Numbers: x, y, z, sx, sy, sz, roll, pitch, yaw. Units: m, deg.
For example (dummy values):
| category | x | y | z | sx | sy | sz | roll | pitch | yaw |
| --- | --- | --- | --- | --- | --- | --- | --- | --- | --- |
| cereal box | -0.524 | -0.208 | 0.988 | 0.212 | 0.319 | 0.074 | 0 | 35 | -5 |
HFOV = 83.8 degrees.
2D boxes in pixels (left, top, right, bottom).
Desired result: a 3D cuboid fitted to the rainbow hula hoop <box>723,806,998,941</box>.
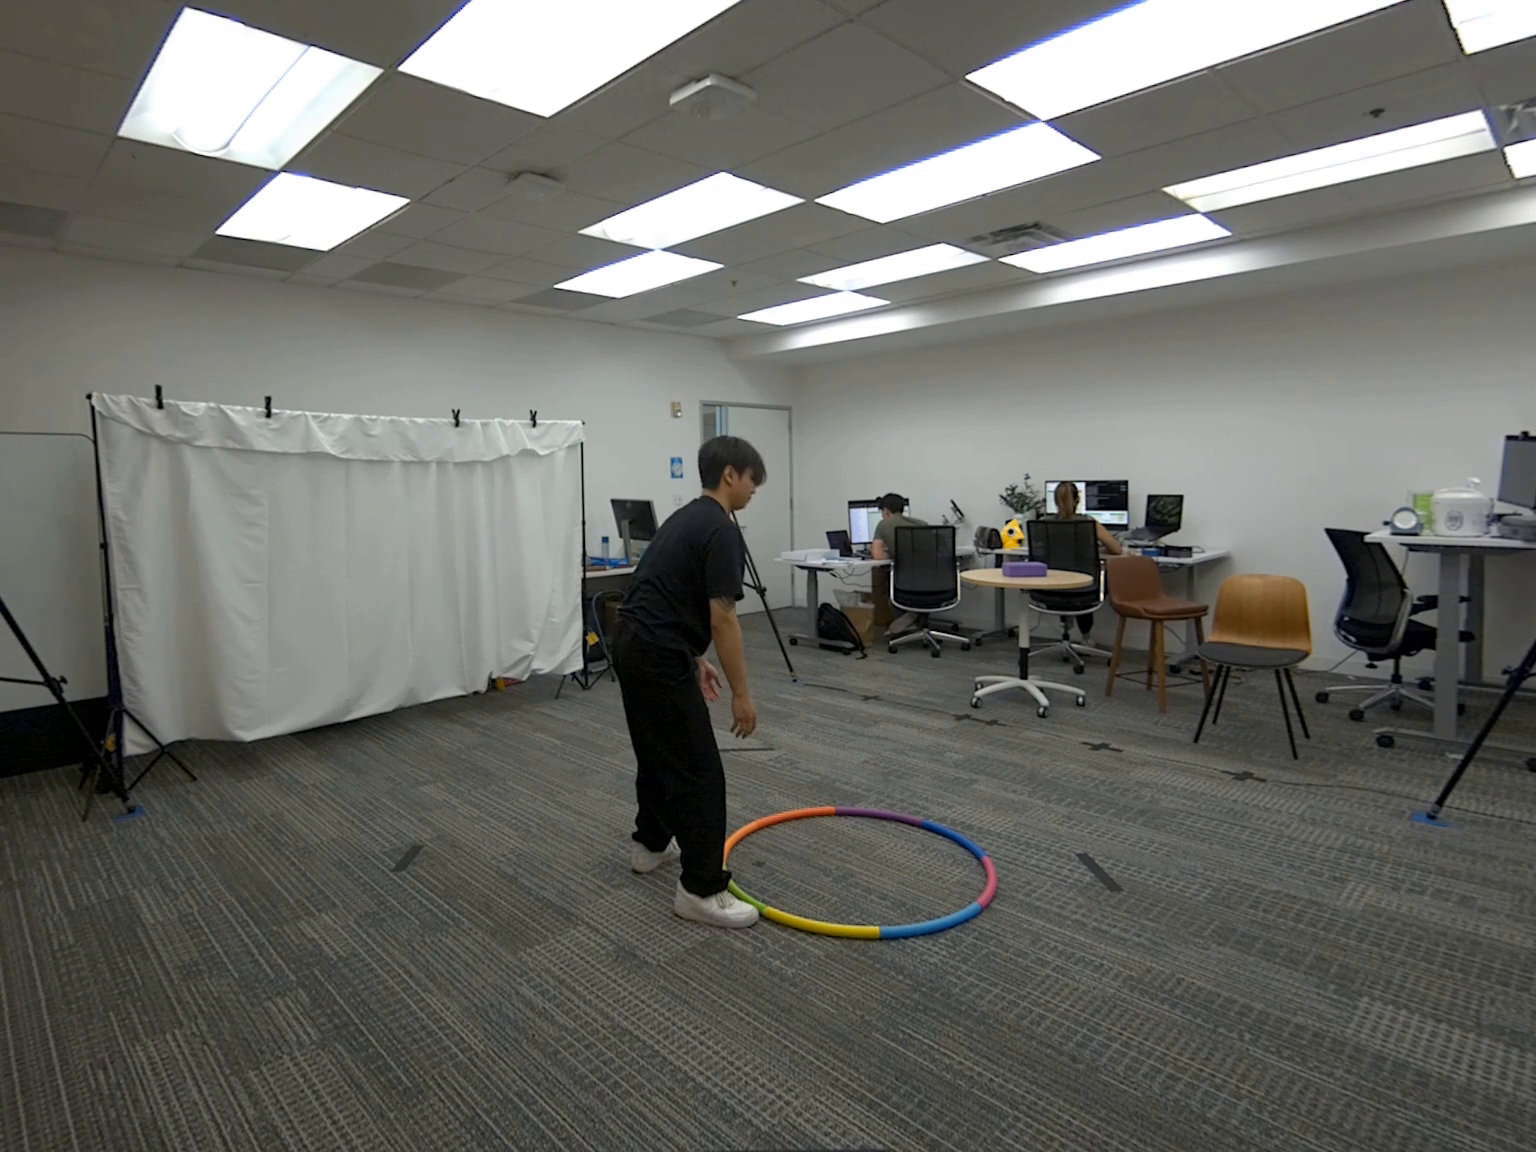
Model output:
| category | x | y | z | sx | sy | sz | roll | pitch | yaw |
| --- | --- | --- | --- | --- | --- | --- | --- | --- | --- |
| rainbow hula hoop | 0.302 | 1.015 | 3.070 | 0.978 | 0.035 | 0.984 | -2 | 6 | -2 |
